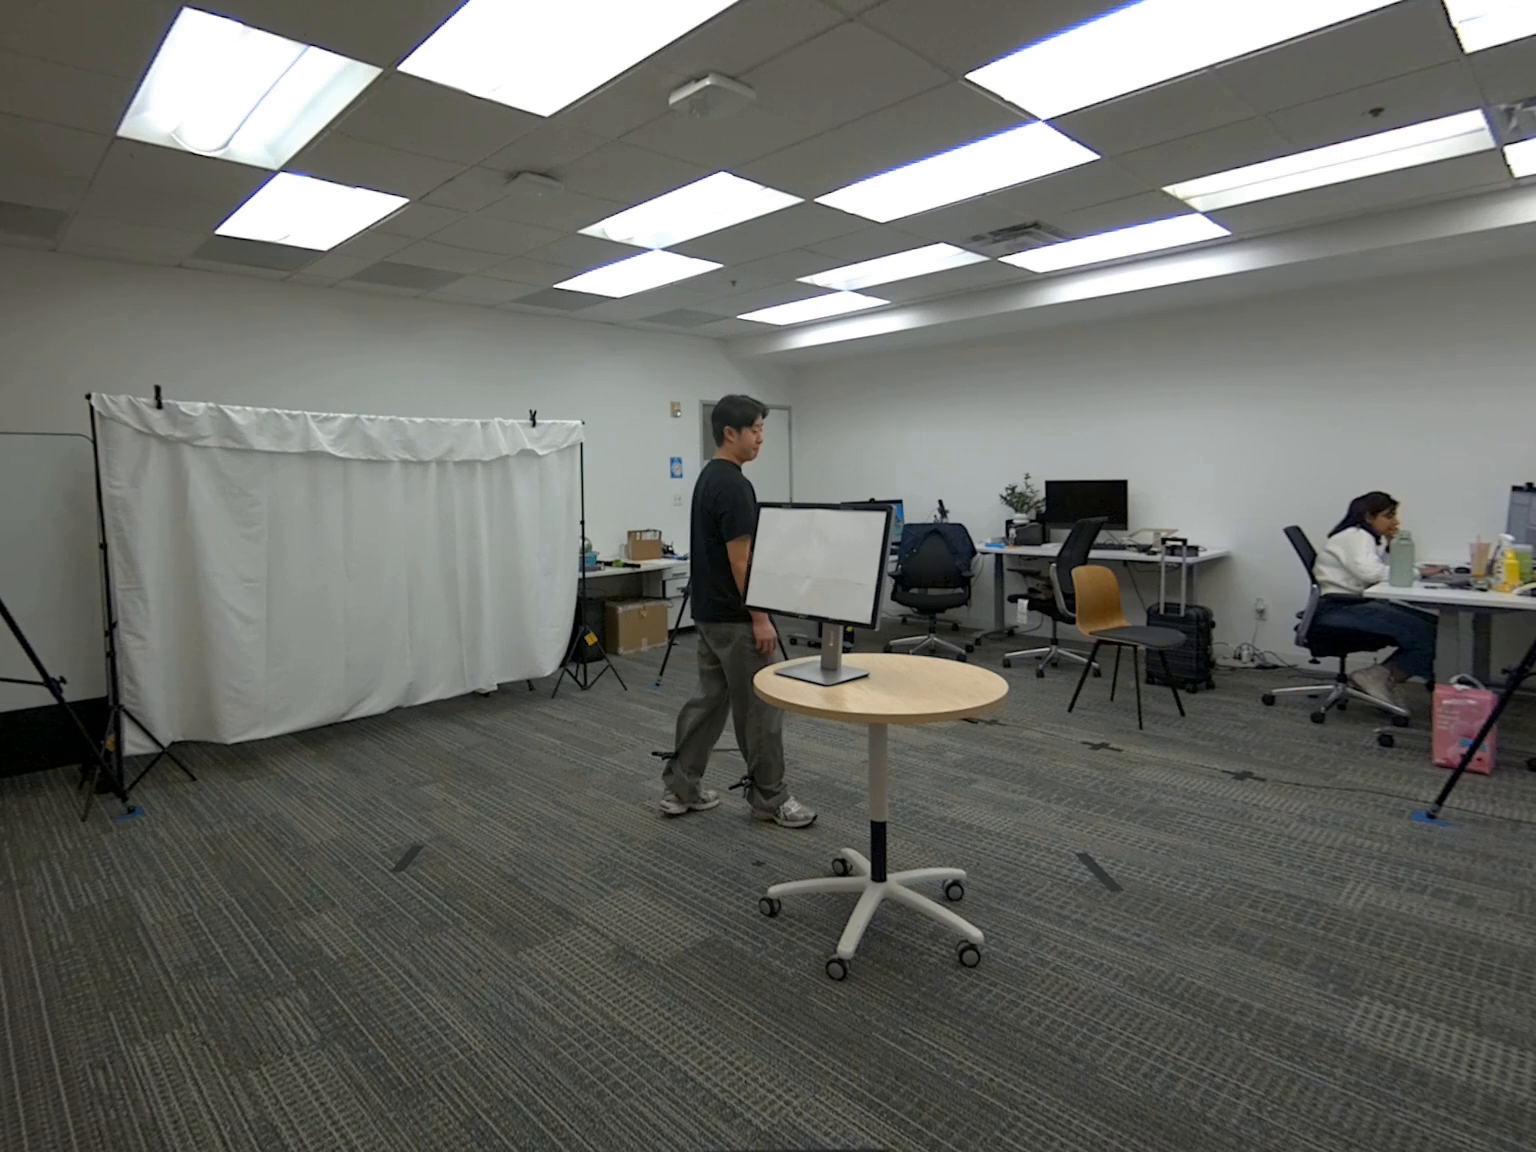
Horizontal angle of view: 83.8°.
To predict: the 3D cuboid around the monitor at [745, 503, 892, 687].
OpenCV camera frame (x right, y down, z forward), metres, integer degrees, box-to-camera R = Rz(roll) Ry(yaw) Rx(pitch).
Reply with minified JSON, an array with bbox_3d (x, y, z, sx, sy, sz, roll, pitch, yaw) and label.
[{"bbox_3d":[0.188,0.047,2.695,0.204,0.554,0.583,5,0,-44],"label":"monitor"}]
